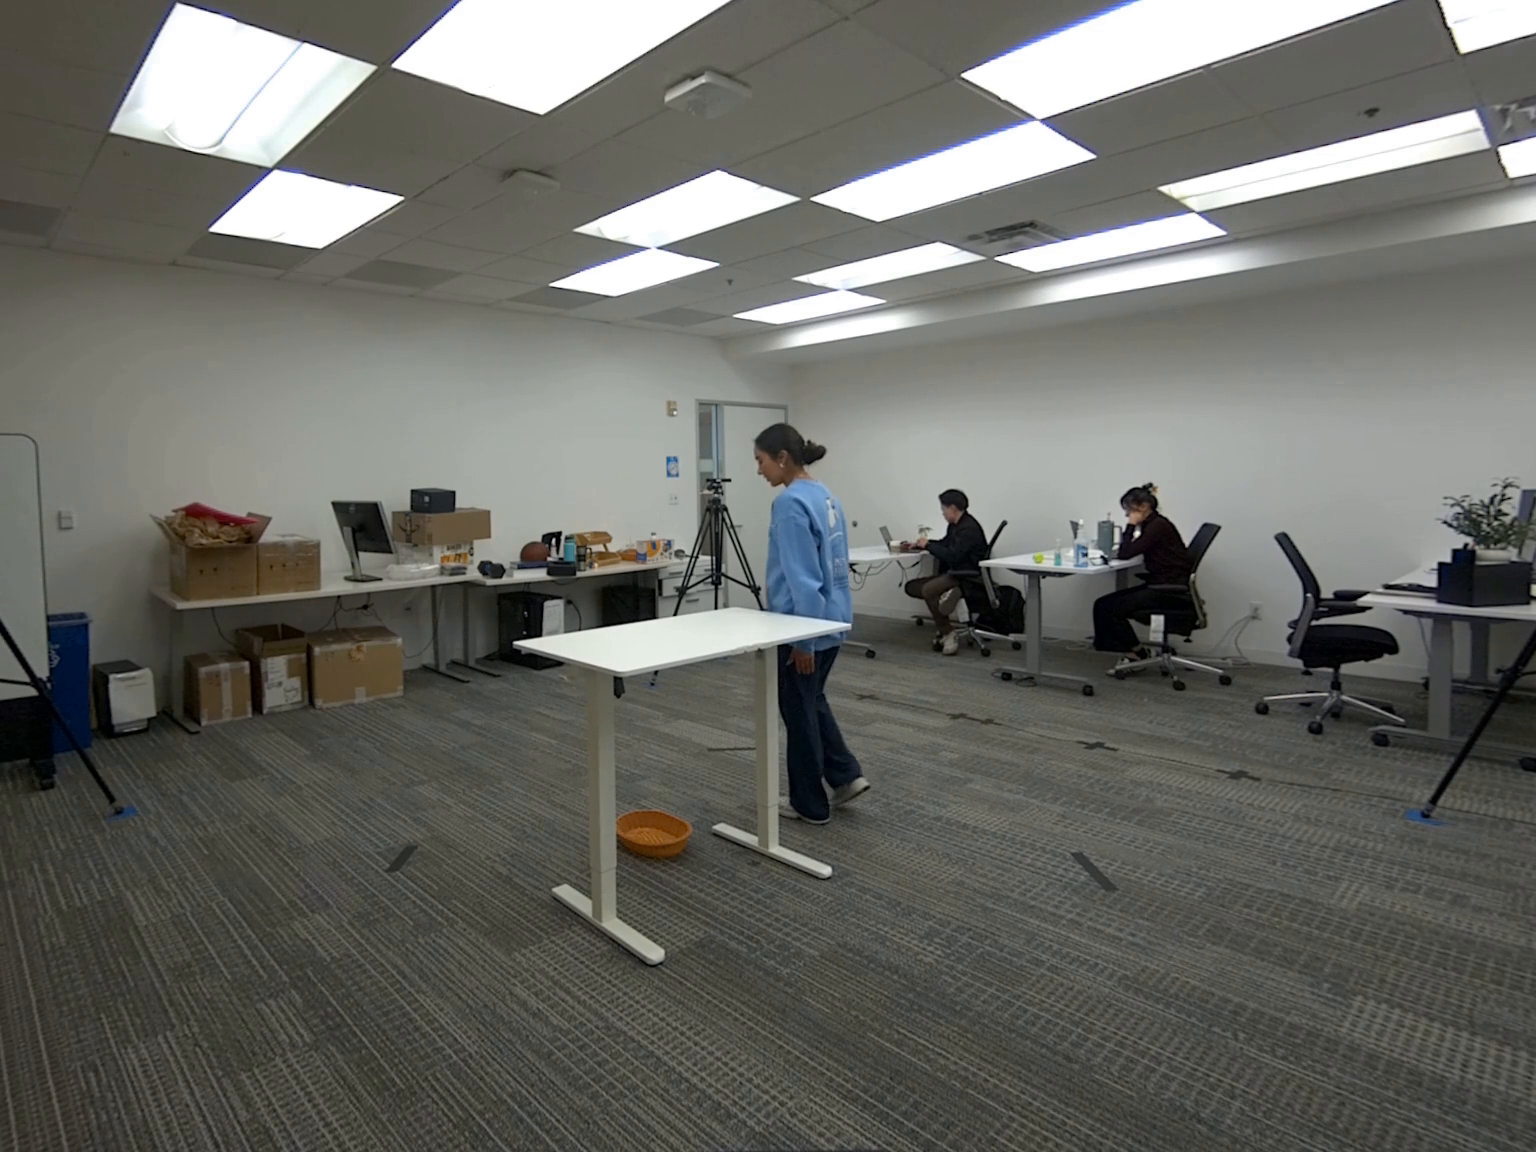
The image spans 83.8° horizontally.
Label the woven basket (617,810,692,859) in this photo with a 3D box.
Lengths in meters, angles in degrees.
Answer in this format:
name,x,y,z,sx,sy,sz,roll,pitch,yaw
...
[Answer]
name,x,y,z,sx,sy,sz,roll,pitch,yaw
woven basket,-0.442,0.990,3.274,0.246,0.073,0.361,-9,10,-41
